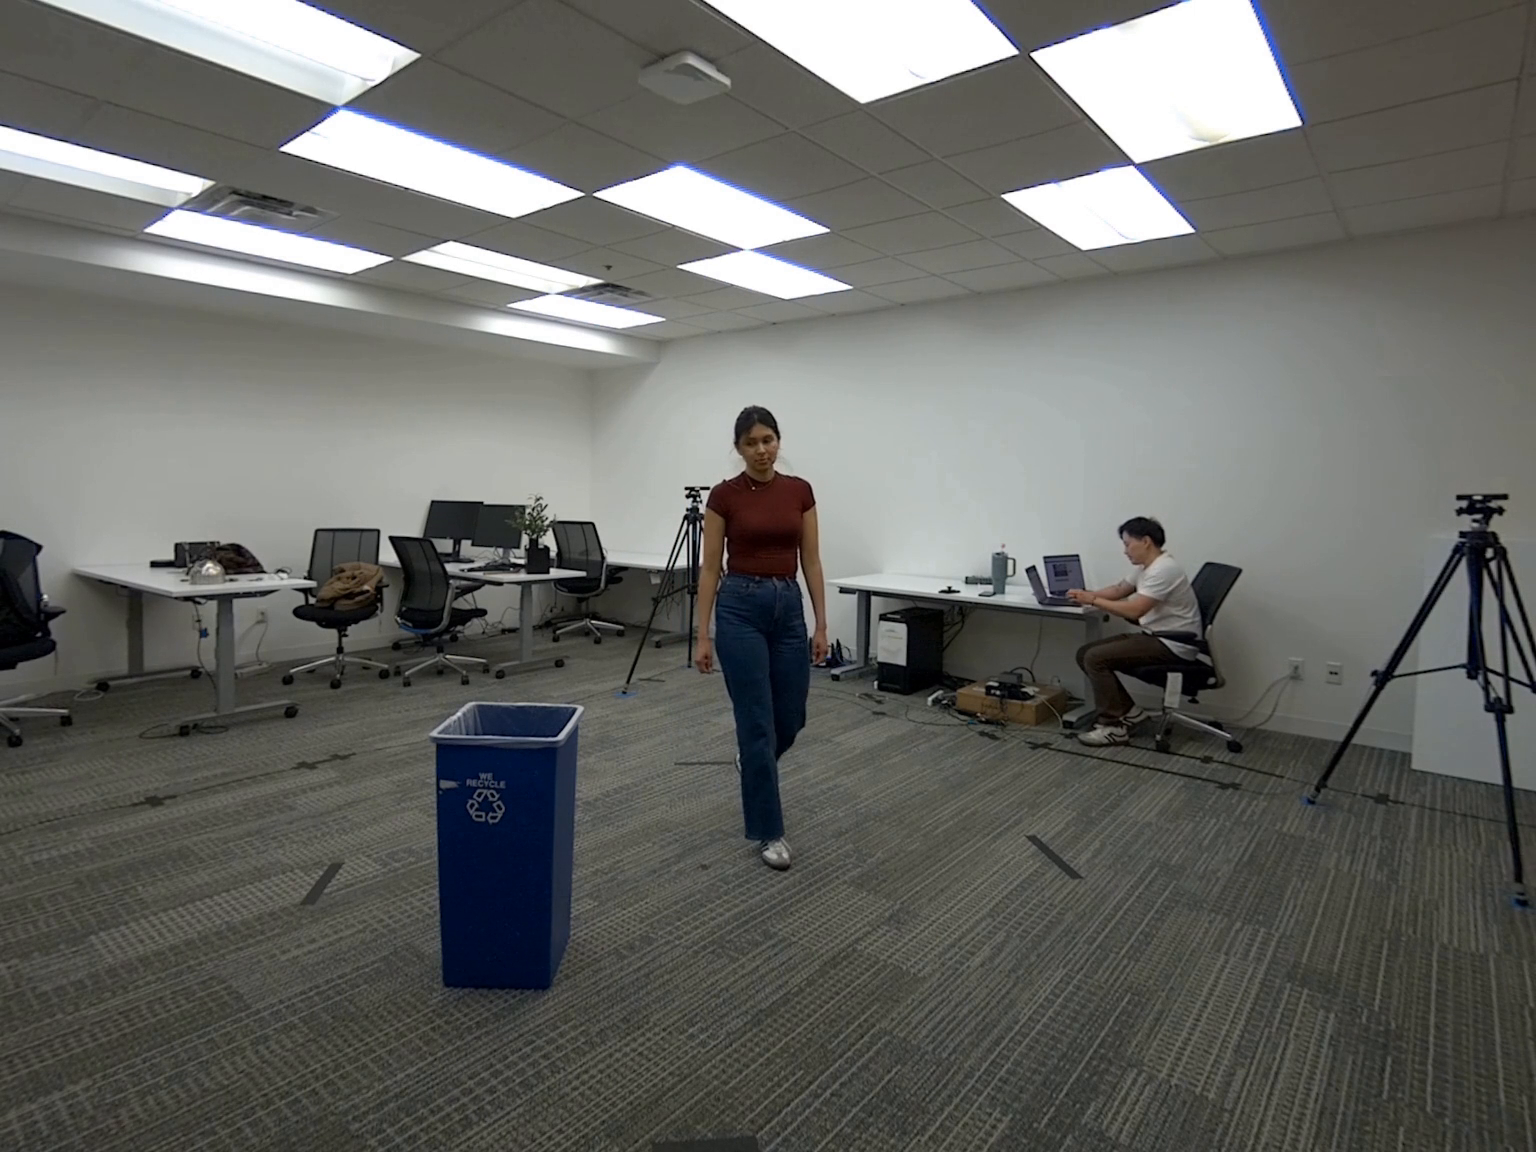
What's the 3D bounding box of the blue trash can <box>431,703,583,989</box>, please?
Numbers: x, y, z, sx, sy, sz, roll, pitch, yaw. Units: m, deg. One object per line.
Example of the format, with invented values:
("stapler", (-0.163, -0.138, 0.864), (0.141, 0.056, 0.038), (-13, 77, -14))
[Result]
("blue trash can", (-0.755, 0.767, 2.477), (0.374, 0.711, 0.379), (1, 4, 0))
